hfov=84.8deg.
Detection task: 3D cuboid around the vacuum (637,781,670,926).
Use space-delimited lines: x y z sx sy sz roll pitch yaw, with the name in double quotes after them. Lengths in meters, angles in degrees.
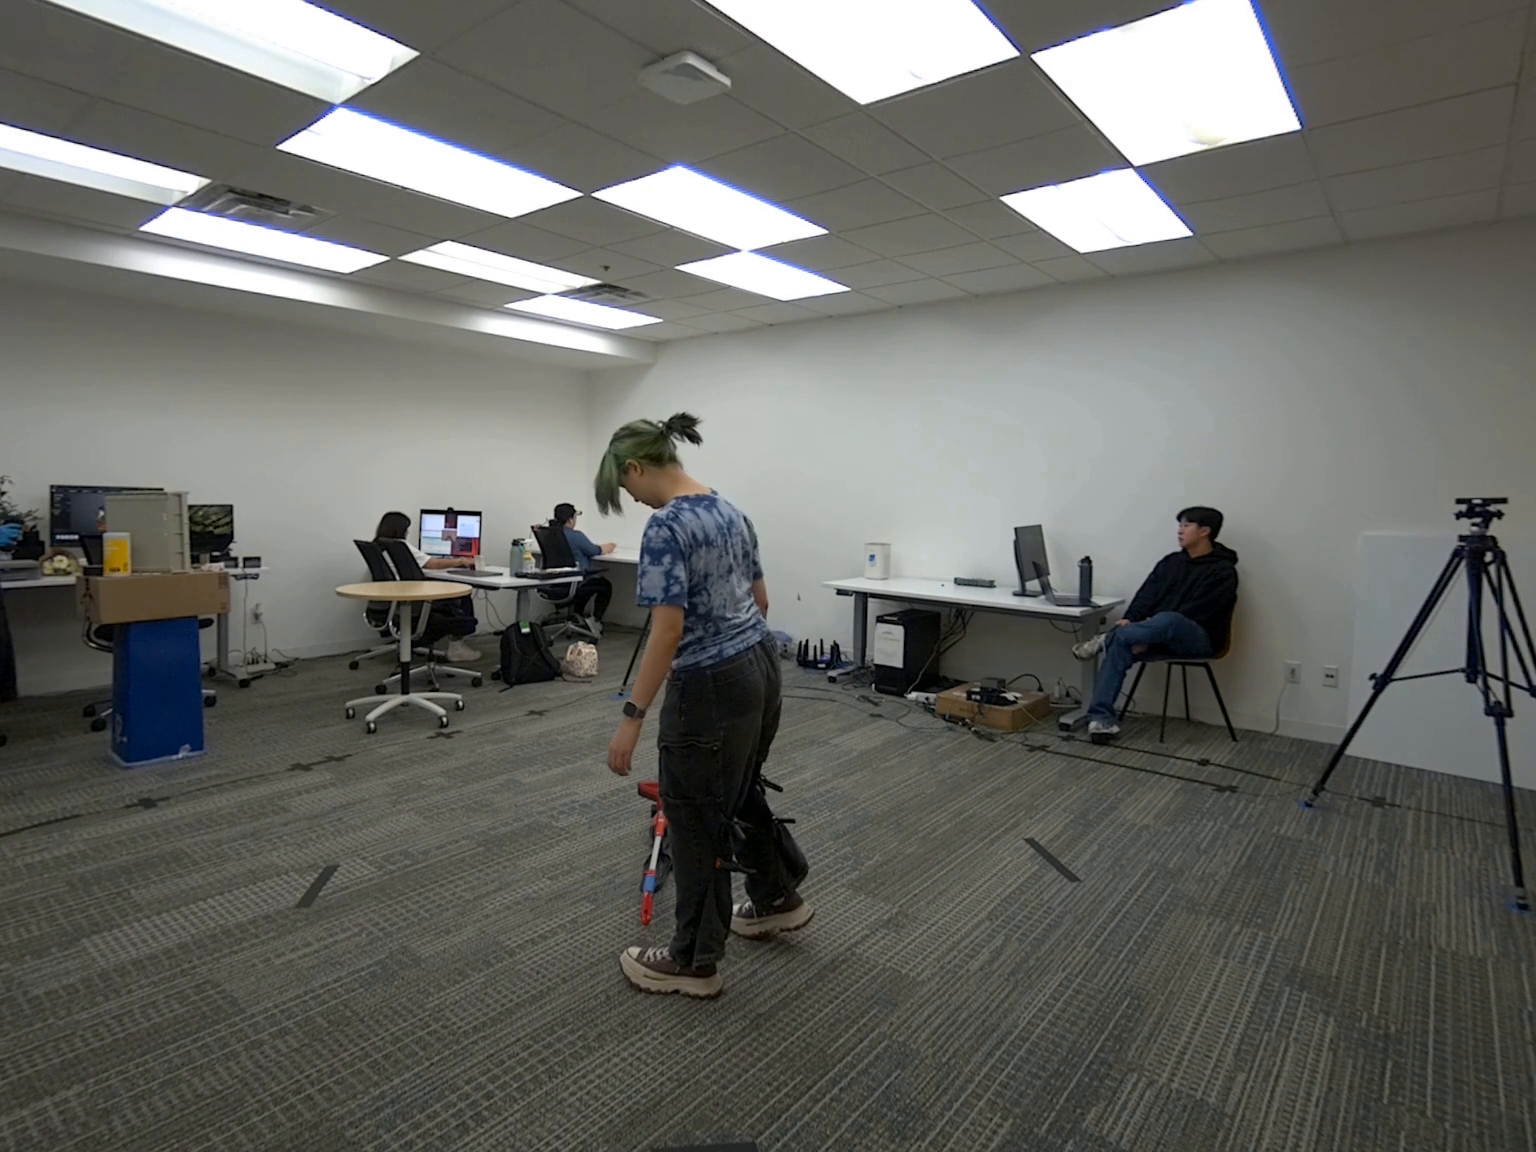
-0.409 0.997 3.098 0.252 0.143 1.057 0 7 -4 "vacuum"
